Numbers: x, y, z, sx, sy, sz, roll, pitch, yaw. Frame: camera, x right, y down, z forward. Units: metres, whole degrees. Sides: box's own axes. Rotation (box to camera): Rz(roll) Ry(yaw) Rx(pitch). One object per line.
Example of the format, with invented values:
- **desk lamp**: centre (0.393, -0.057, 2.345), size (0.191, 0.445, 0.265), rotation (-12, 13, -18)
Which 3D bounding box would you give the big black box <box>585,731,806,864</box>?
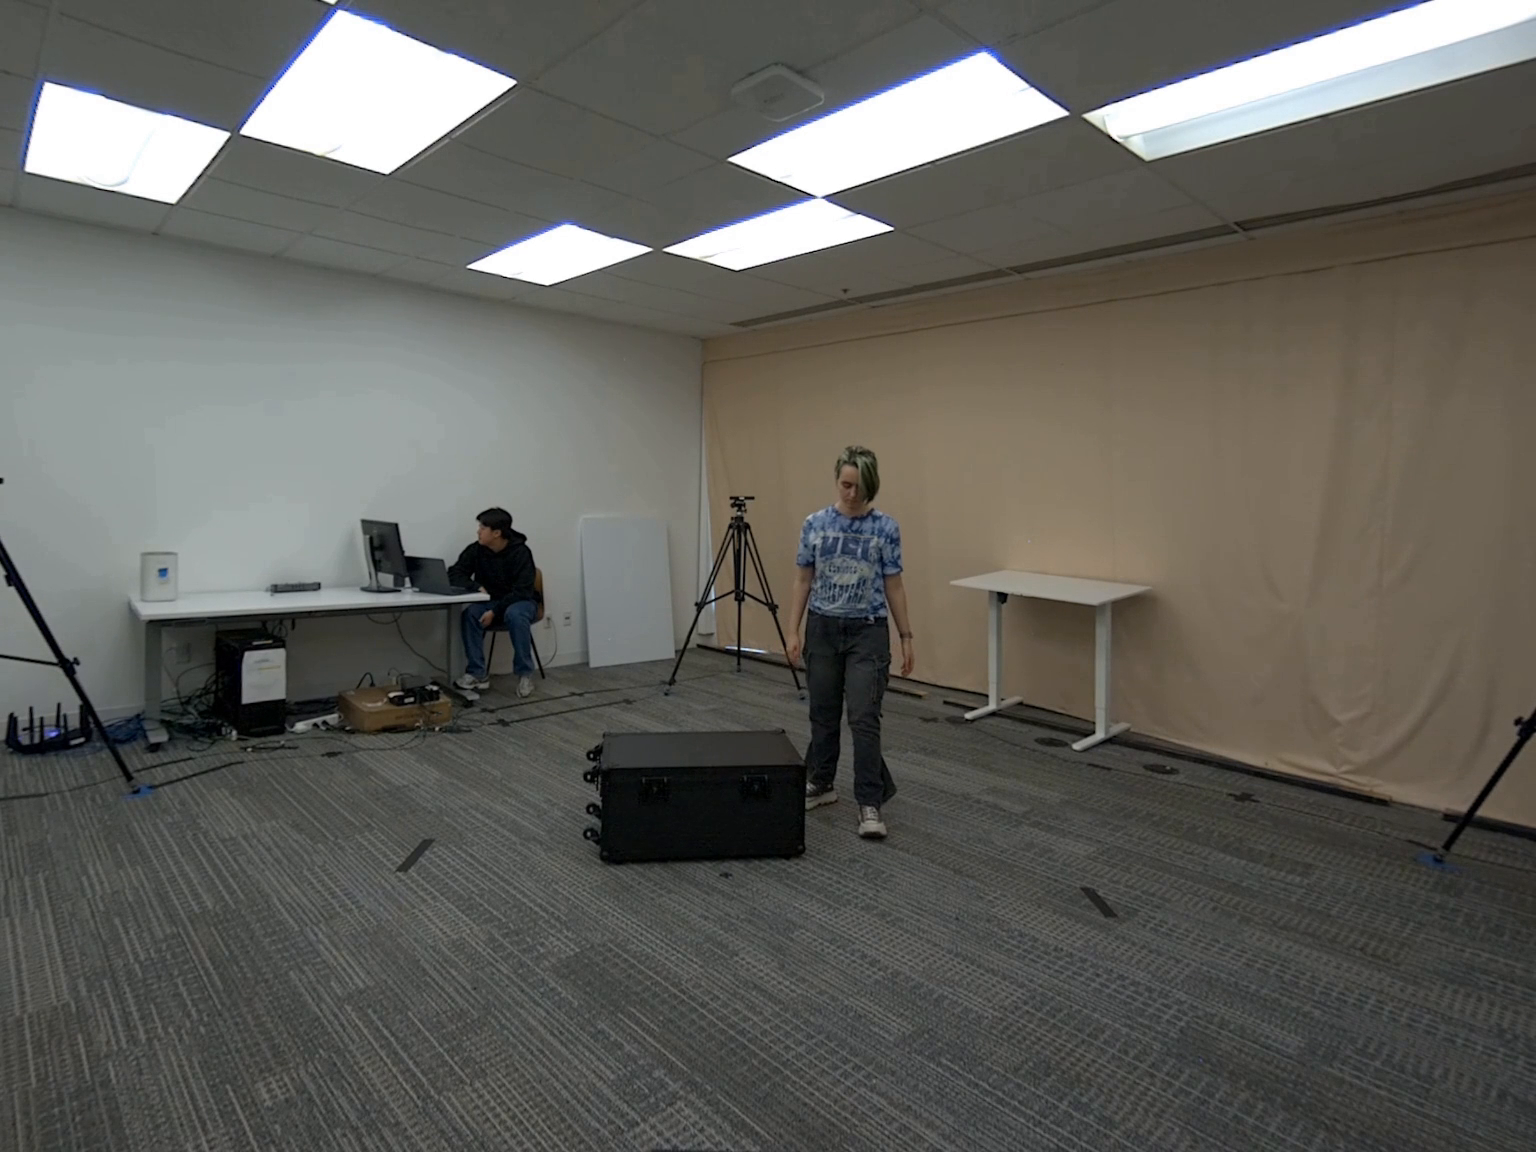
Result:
- **big black box**: centre (-0.260, 0.882, 3.422), size (0.856, 0.395, 0.526), rotation (0, 5, -8)
